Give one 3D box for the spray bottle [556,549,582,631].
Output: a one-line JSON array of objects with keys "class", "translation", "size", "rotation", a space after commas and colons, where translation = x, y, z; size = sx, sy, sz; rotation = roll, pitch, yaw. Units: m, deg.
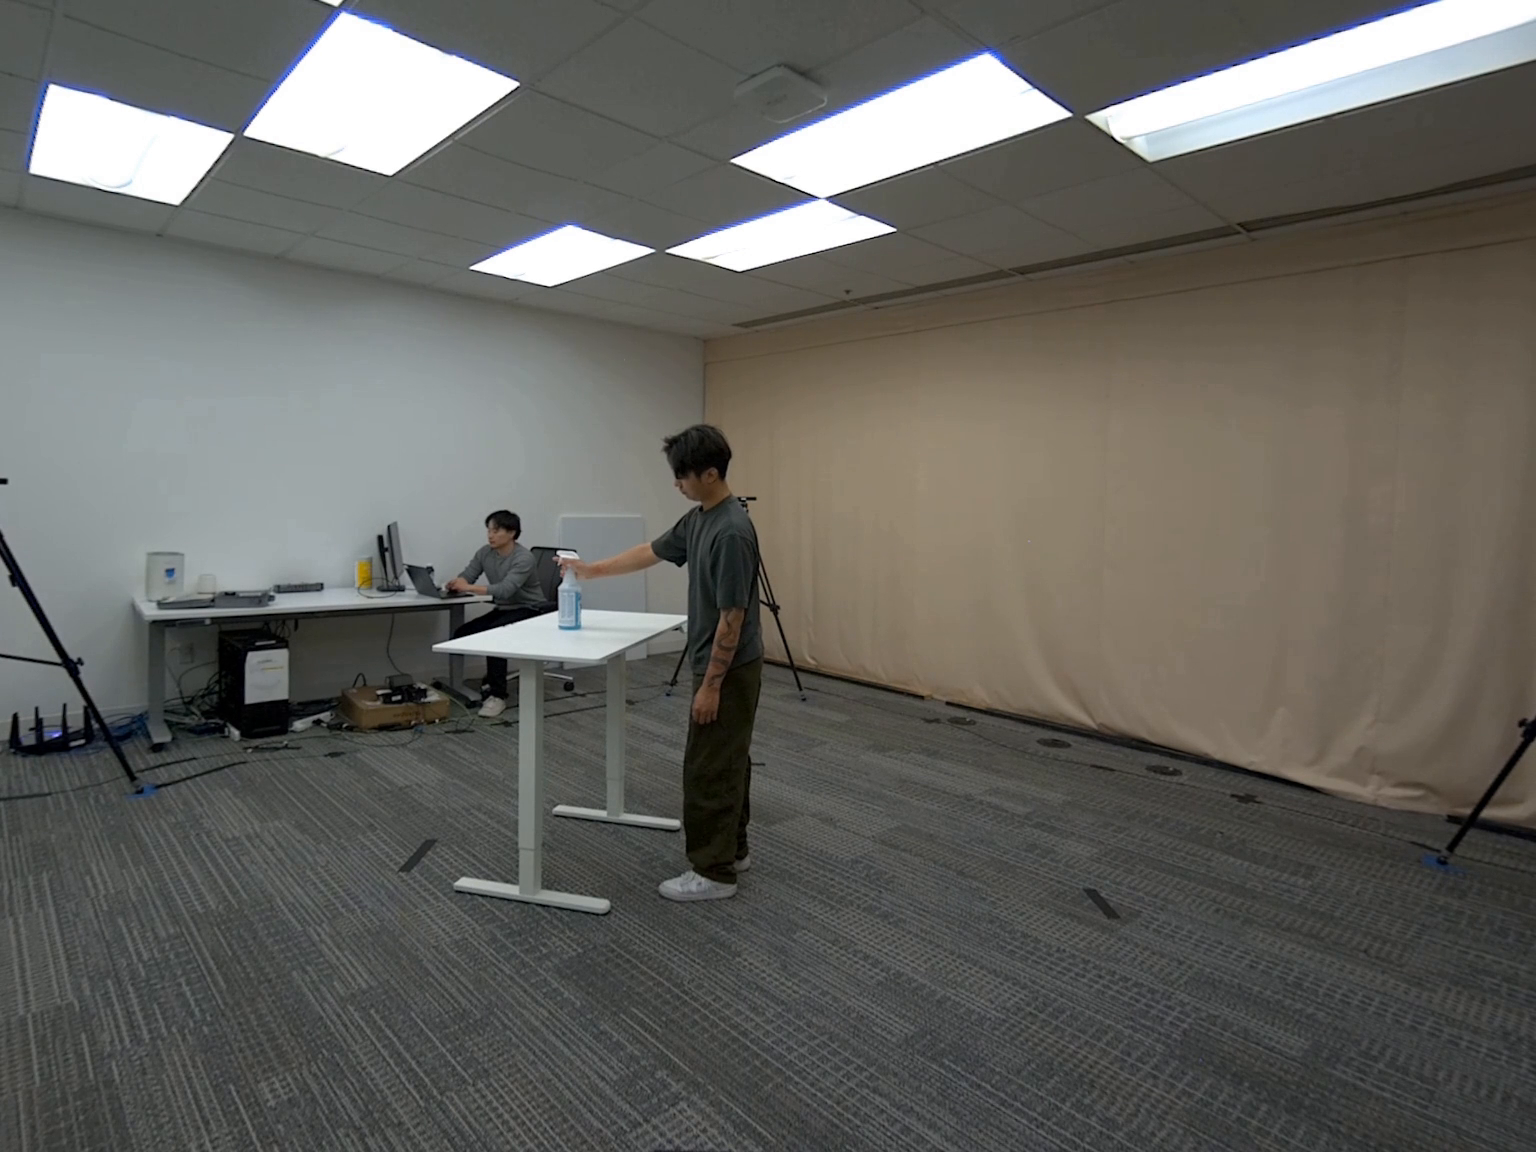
[{"class": "spray bottle", "translation": [-0.758, 0.054, 3.212], "size": [0.092, 0.296, 0.085], "rotation": [4, 5, 40]}]
